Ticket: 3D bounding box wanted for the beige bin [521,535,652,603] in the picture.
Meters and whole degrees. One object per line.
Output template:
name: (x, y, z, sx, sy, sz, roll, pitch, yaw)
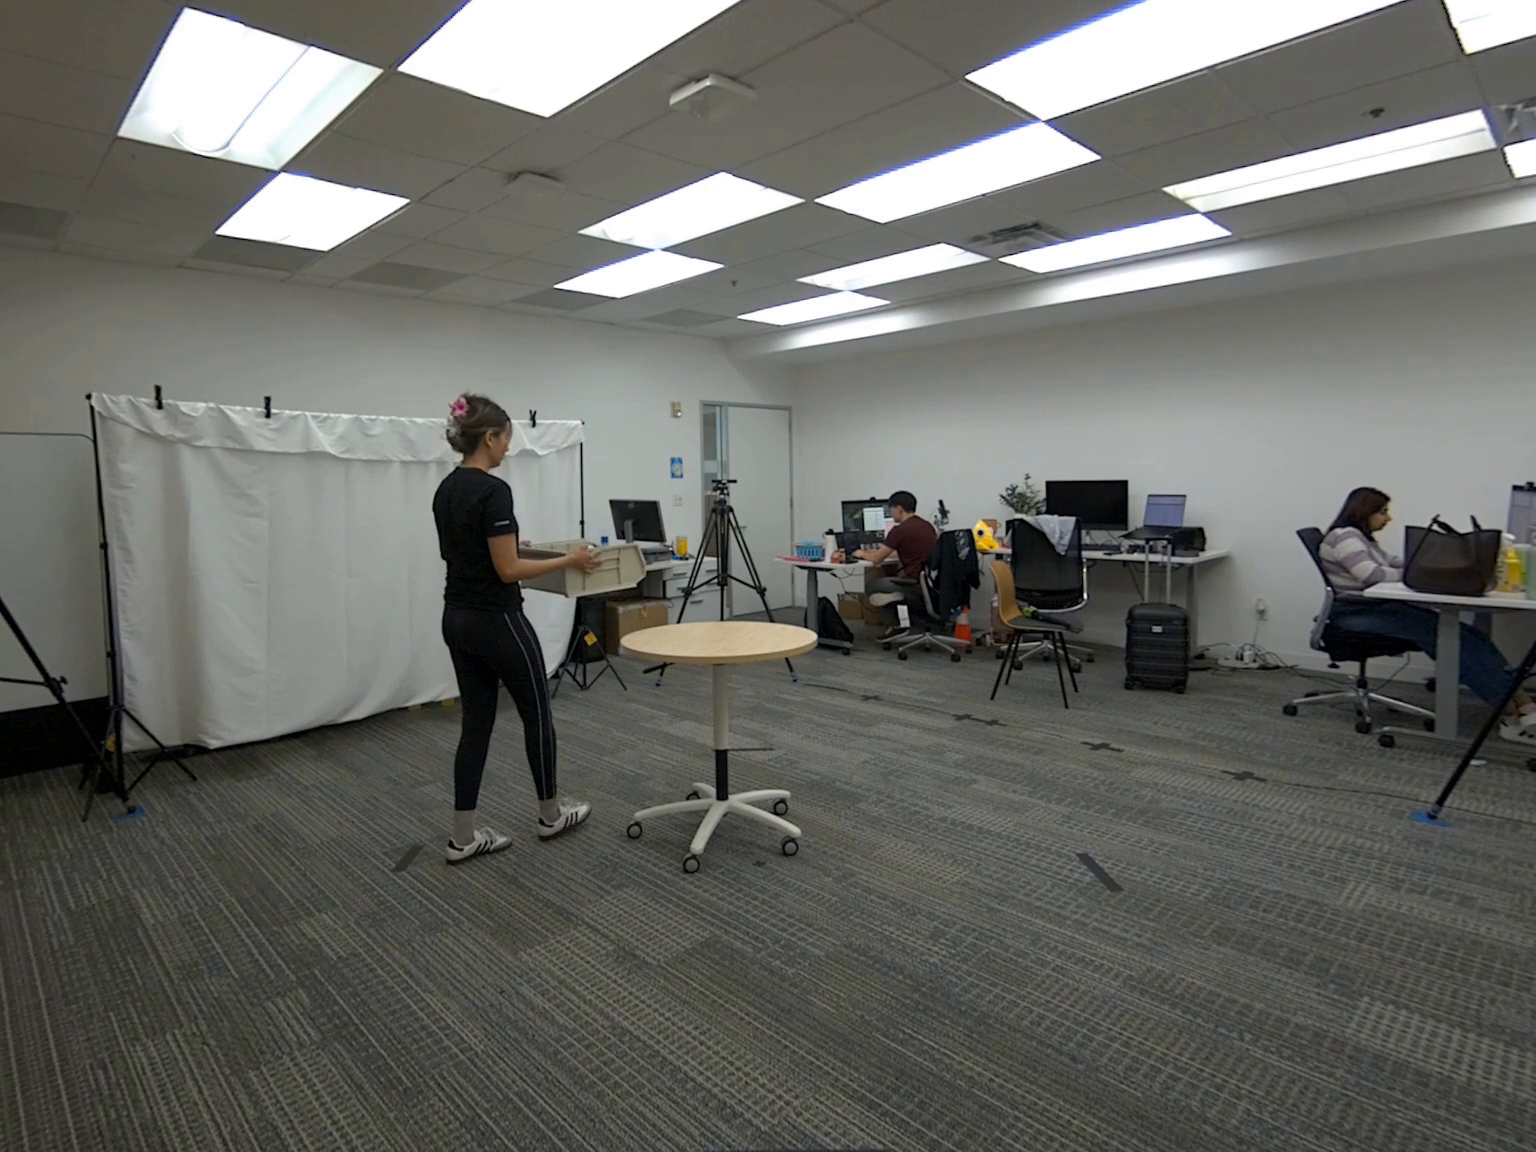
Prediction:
beige bin: (-0.764, -0.042, 3.520, 0.369, 0.187, 0.435, -12, 12, -40)
